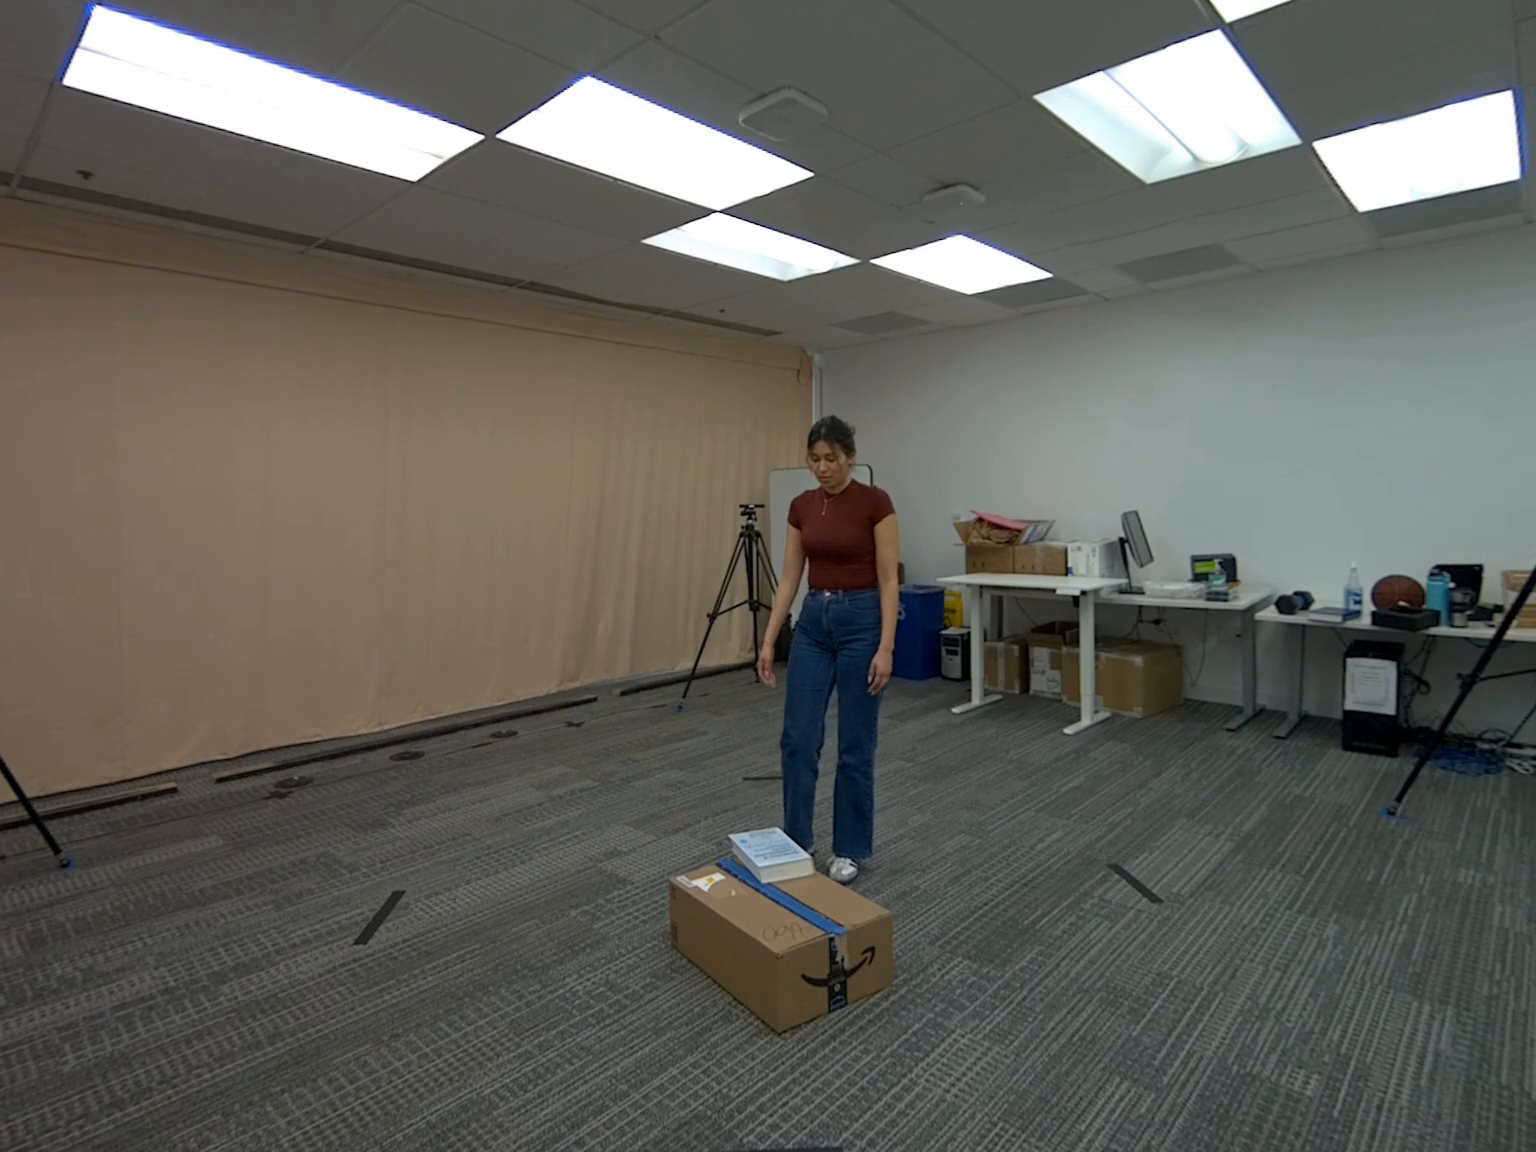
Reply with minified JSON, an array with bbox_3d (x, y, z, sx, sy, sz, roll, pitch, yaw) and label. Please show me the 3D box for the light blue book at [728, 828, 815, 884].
[{"bbox_3d":[0.013,0.903,2.764,0.187,0.059,0.267,-3,6,-23],"label":"light blue book"}]
